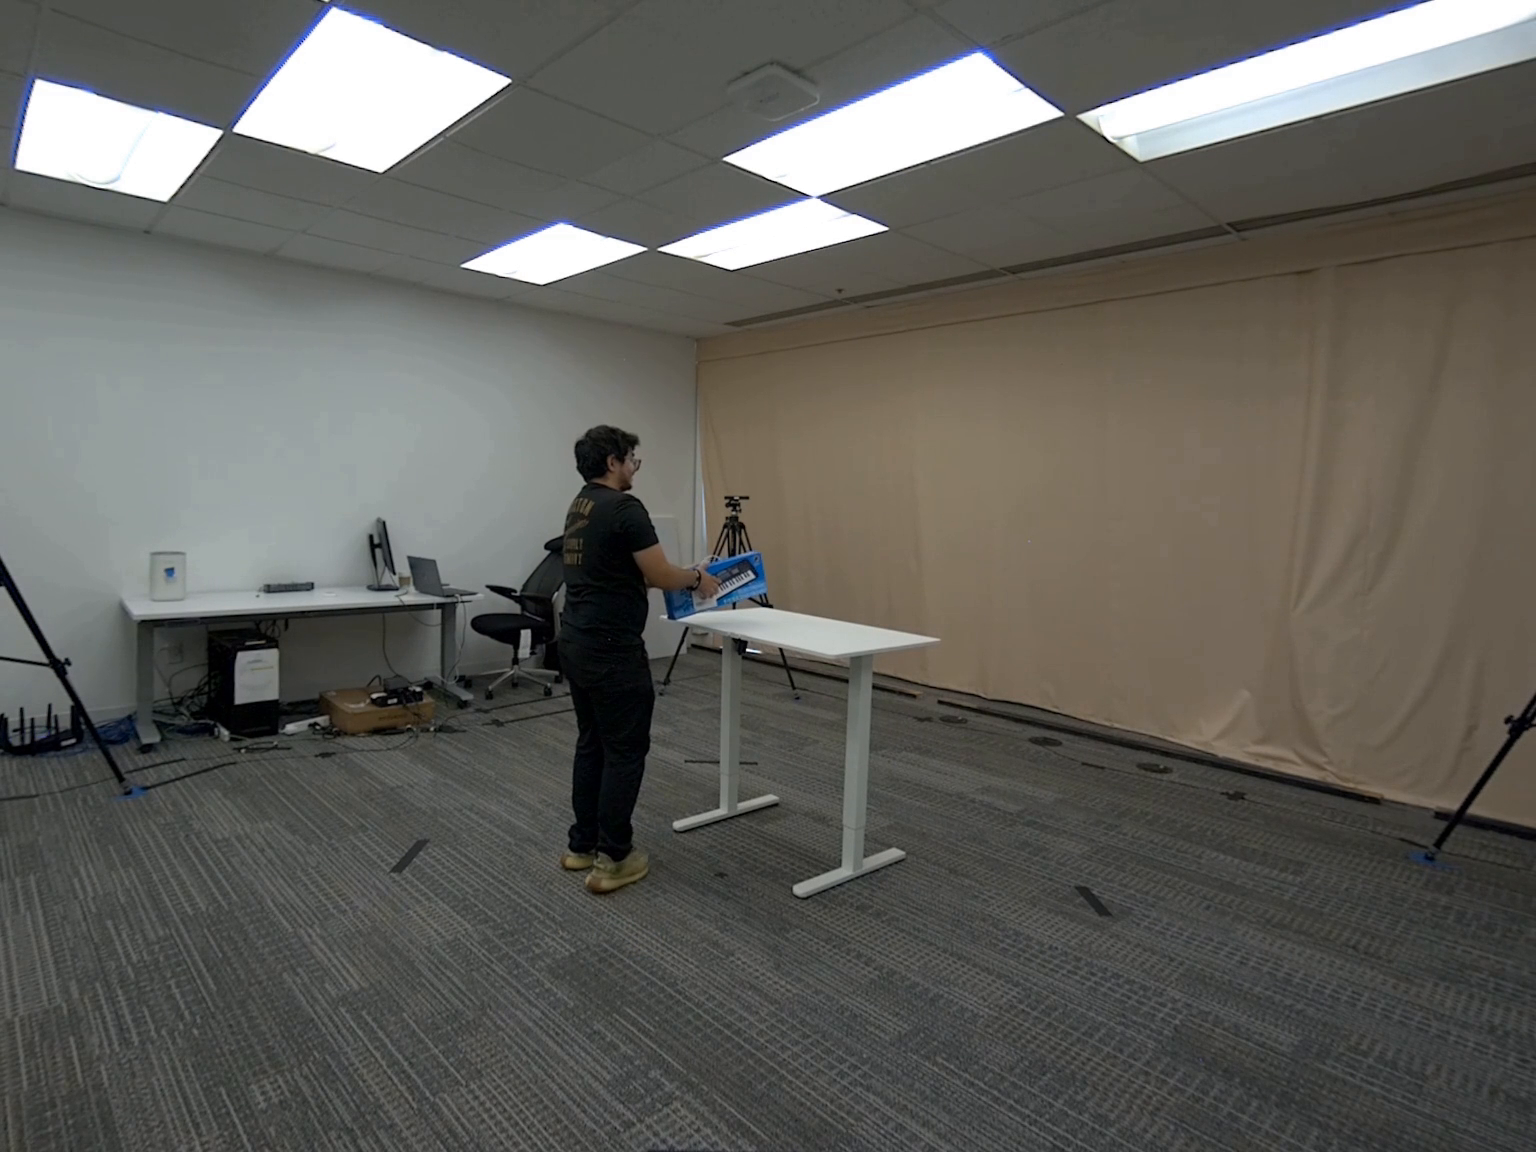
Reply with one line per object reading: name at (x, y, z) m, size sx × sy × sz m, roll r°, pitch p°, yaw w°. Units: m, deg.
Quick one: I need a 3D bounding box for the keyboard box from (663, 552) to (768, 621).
keyboard box at (-0.215, 0.037, 3.368) m, size 0.431 × 0.175 × 0.060 m, roll -17°, pitch 9°, yaw -29°
